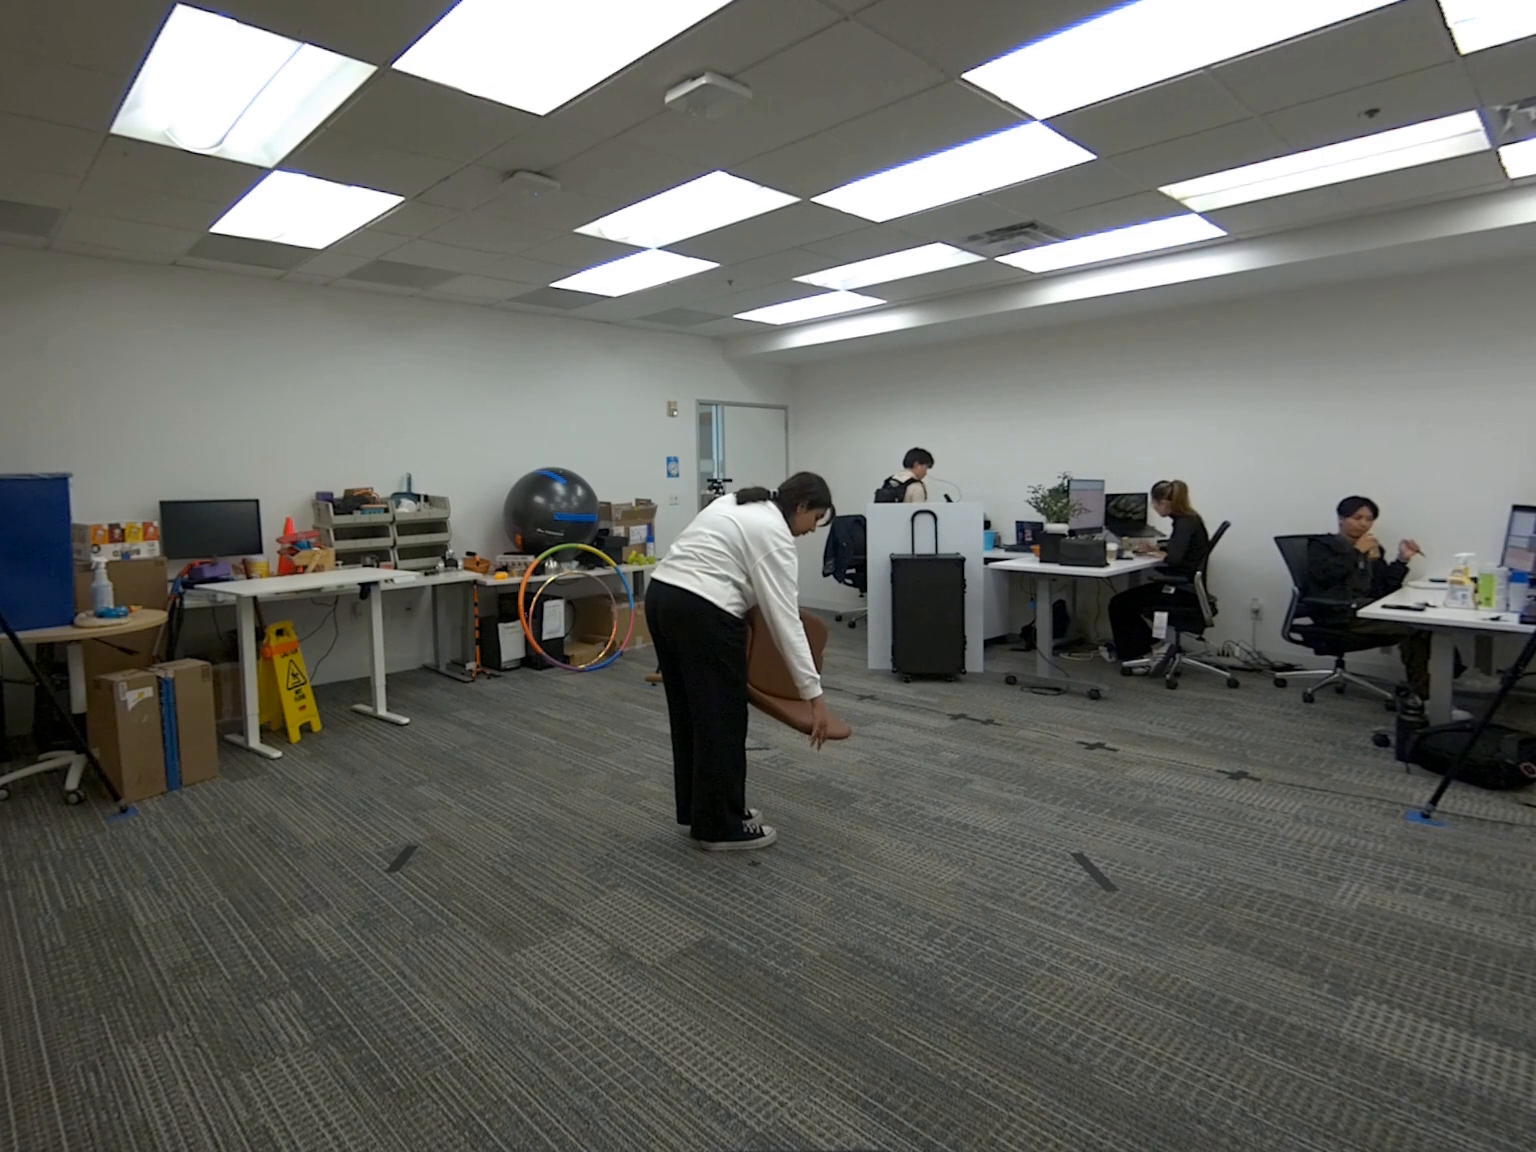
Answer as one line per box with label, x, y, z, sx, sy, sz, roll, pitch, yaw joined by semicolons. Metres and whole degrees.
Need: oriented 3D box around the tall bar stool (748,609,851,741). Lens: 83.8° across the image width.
tall bar stool;-0.046;0.330;3.531;0.440;0.470;0.918;25;-11;-41
